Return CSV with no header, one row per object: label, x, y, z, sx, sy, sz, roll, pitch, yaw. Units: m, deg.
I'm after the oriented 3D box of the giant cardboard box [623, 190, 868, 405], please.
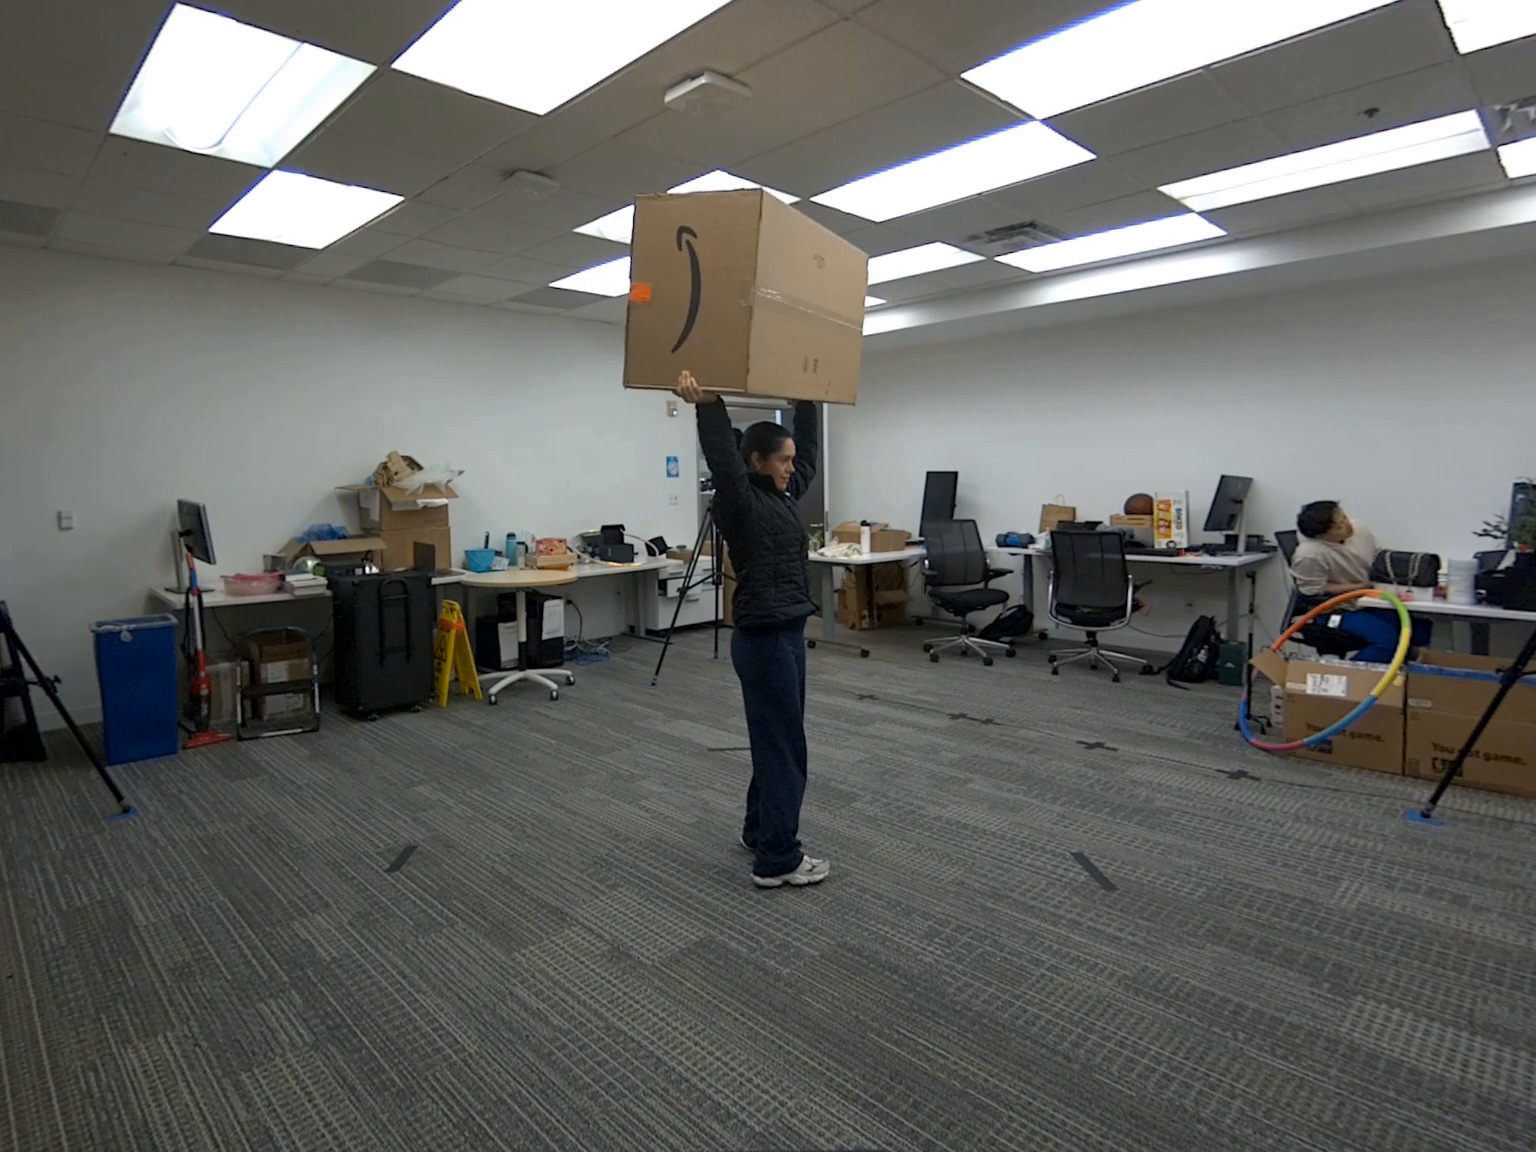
giant cardboard box,-0.029,-0.907,2.975,0.457,0.579,1.011,7,10,22
